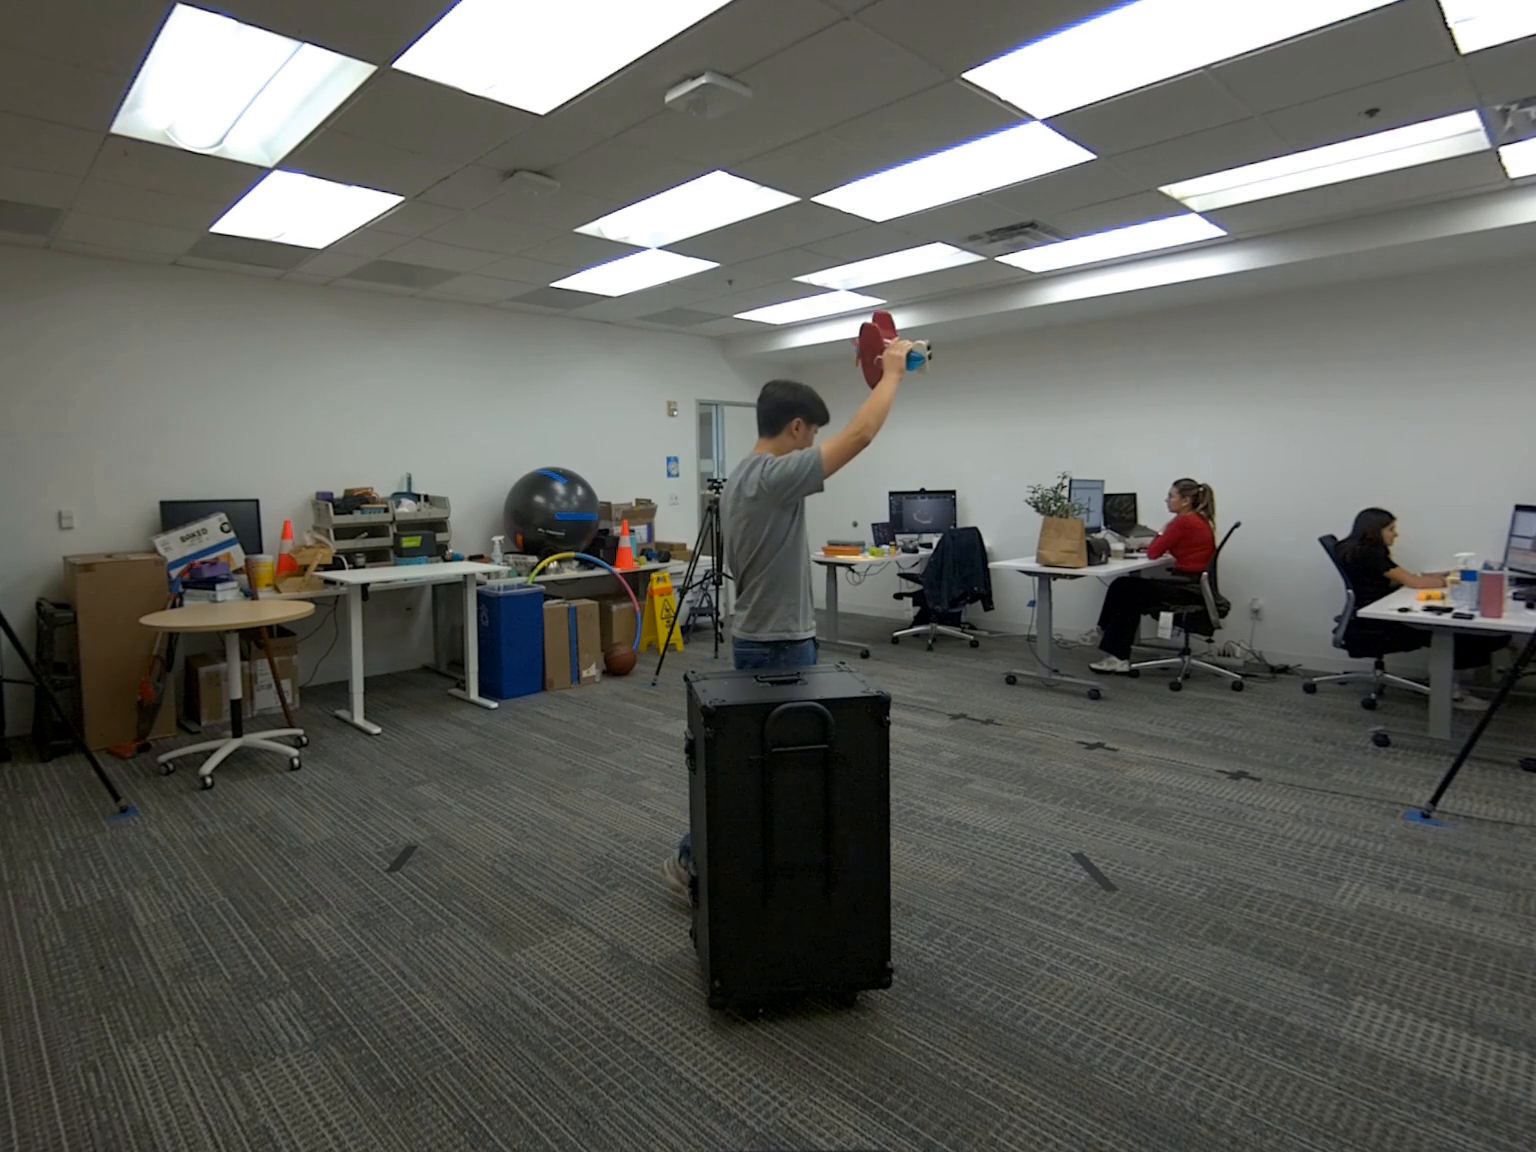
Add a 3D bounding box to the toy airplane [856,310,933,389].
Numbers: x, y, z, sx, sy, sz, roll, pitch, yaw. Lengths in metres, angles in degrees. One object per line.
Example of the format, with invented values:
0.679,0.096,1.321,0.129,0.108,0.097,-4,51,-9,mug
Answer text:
0.404,-0.754,2.782,0.155,0.247,0.265,-33,16,-19,toy airplane
